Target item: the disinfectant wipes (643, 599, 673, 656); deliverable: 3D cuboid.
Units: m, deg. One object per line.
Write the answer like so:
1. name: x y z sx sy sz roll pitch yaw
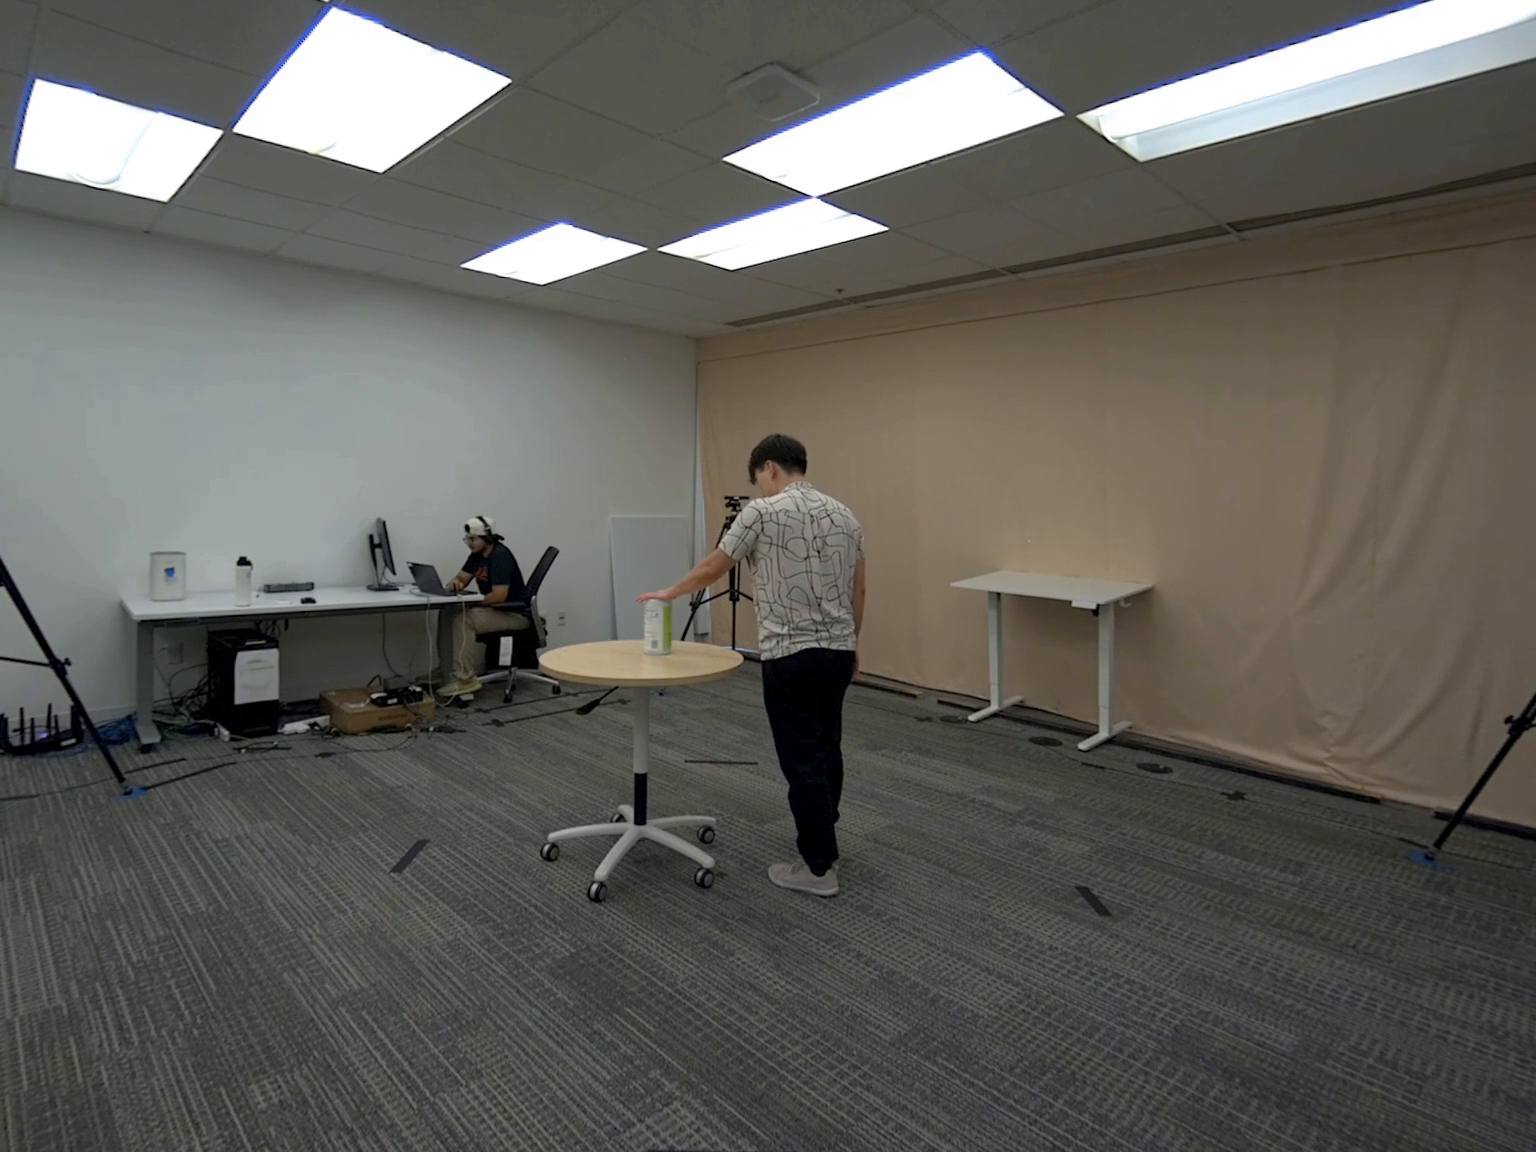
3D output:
1. disinfectant wipes: -0.432 0.193 3.269 0.118 0.217 0.118 2 2 -1
